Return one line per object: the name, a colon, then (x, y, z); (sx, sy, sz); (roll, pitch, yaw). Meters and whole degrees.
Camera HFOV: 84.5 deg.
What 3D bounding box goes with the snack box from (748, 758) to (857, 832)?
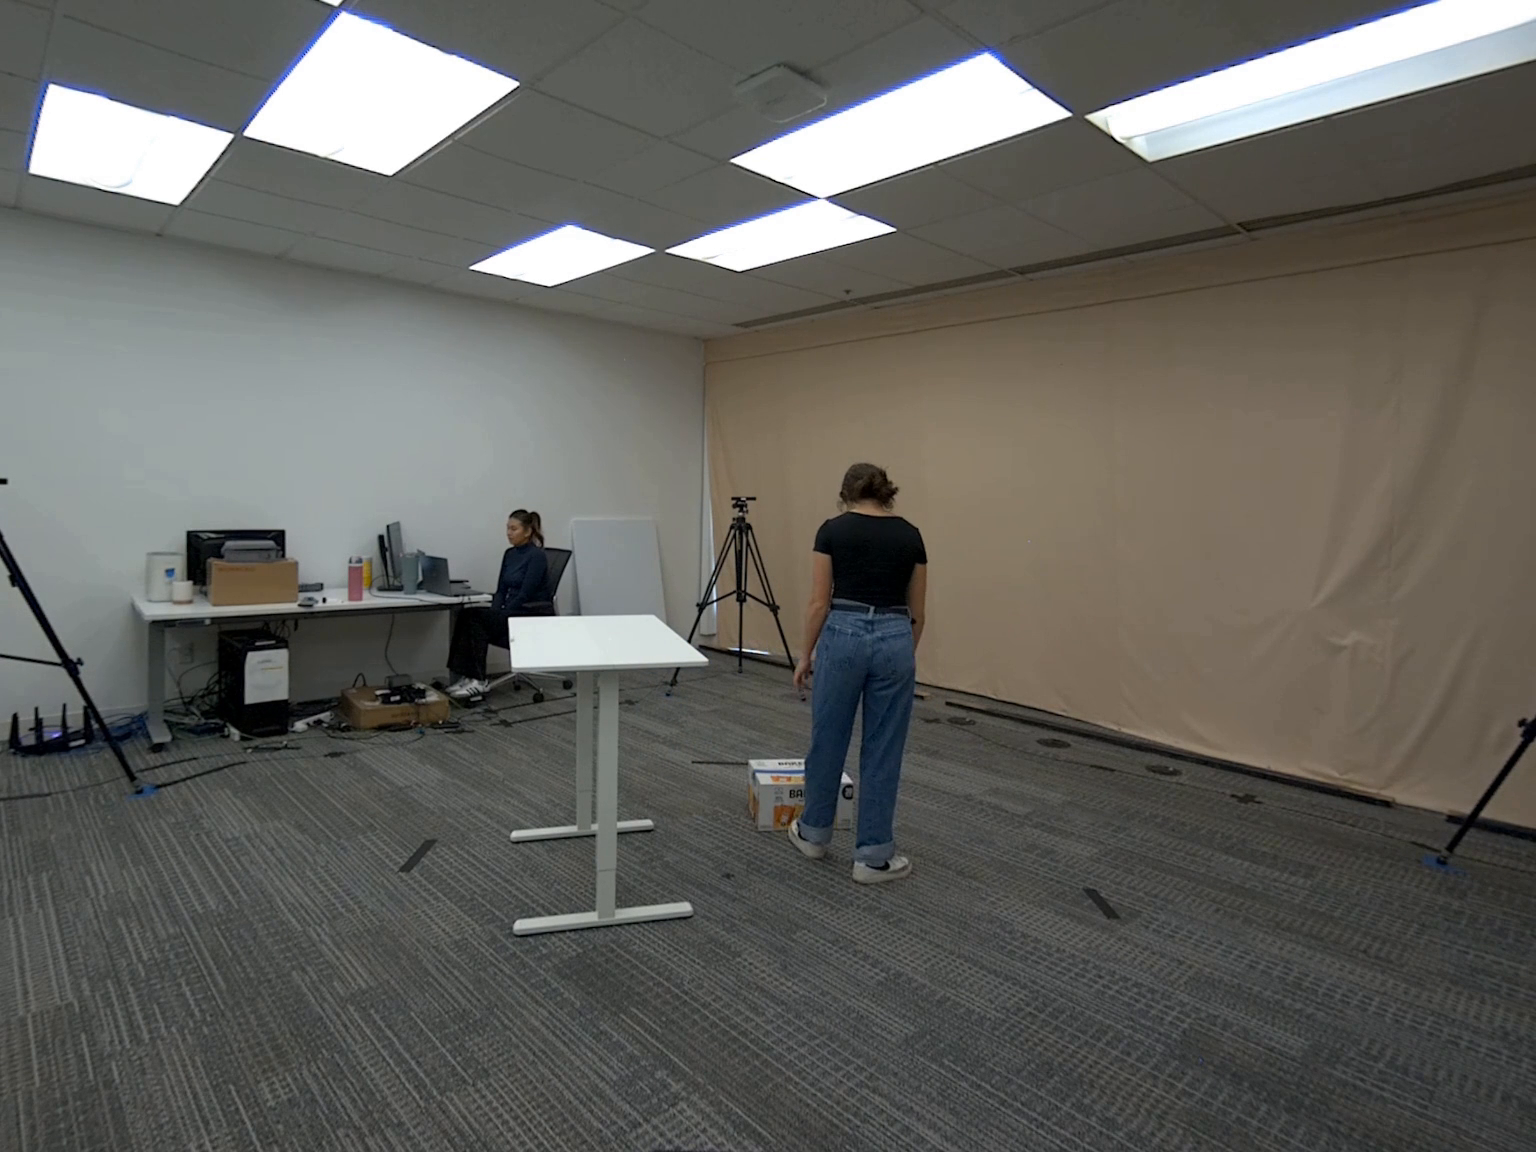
snack box: (0.125, 0.959, 3.717); (0.402, 0.205, 0.343); (1, 4, -8)
